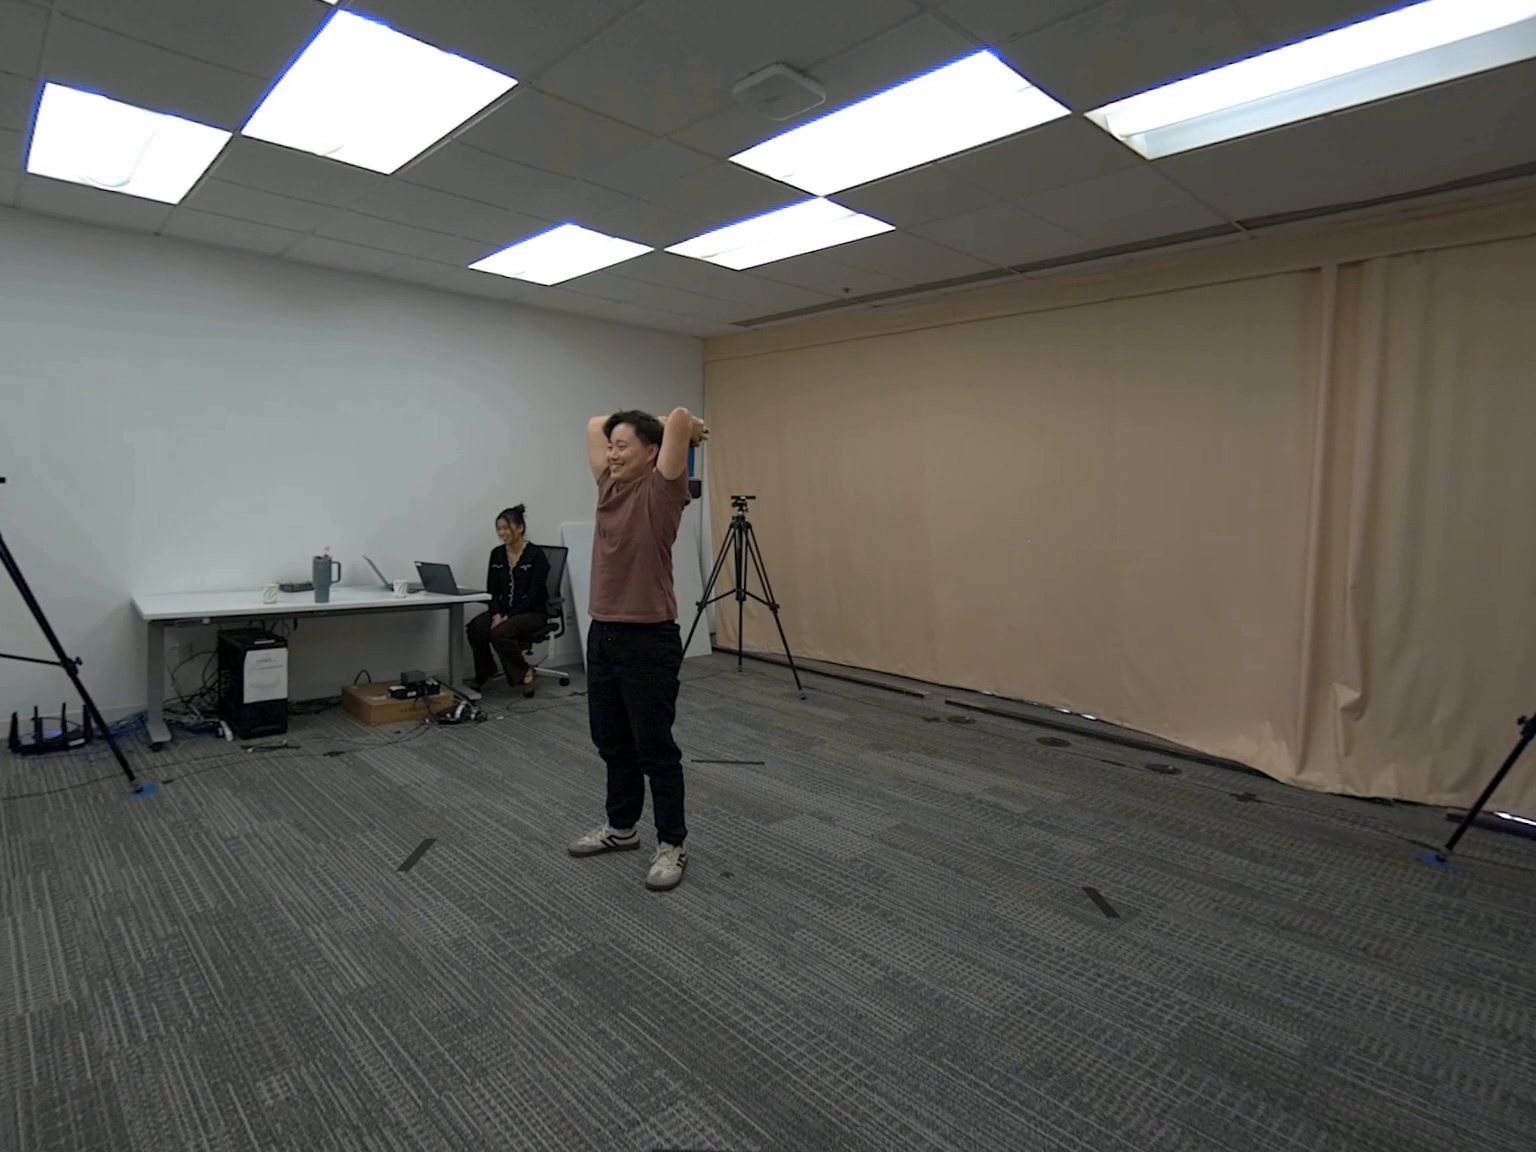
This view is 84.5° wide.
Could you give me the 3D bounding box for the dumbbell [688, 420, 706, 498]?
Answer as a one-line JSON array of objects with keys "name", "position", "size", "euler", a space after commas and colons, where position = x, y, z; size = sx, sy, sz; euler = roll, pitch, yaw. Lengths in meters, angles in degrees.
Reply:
[{"name": "dumbbell", "position": [-0.321, -0.448, 3.228], "size": [0.120, 0.293, 0.111], "euler": [-3, 4, -38]}]
